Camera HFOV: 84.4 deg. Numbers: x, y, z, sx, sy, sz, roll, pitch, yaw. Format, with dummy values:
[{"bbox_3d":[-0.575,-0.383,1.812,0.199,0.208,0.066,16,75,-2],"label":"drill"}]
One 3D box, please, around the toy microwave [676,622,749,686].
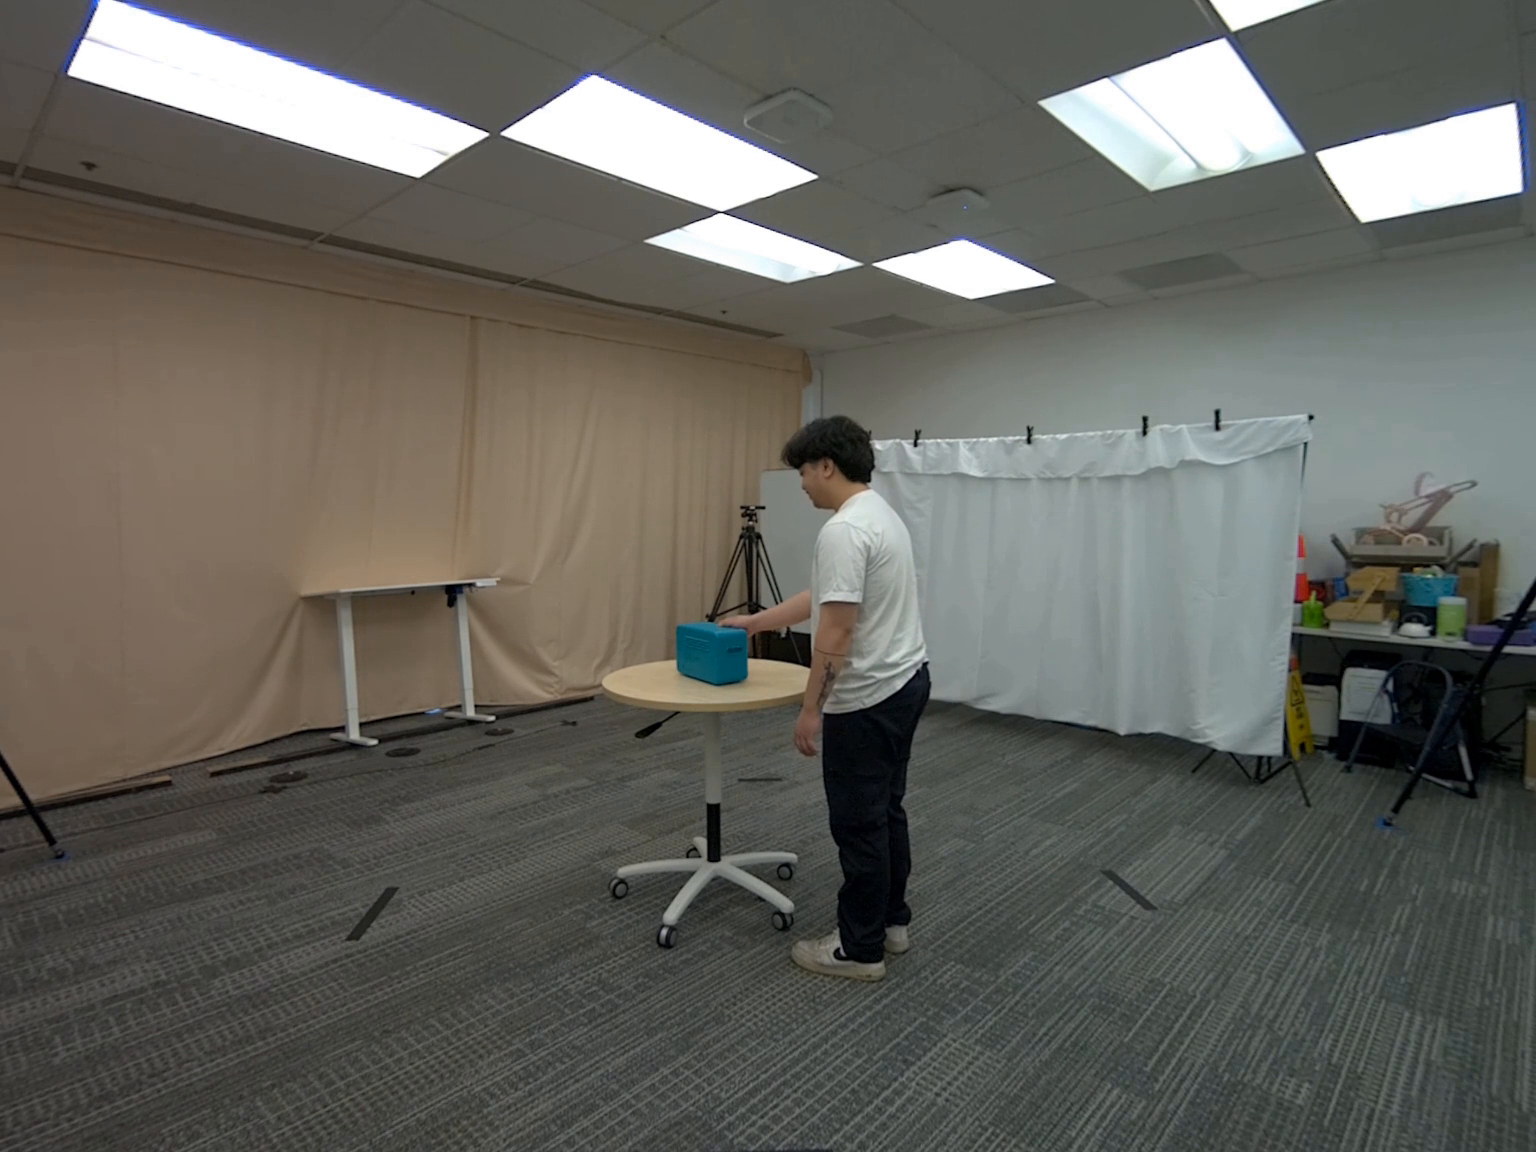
[{"bbox_3d":[-0.192,0.265,2.936,0.148,0.184,0.295,-3,4,-34],"label":"toy microwave"}]
